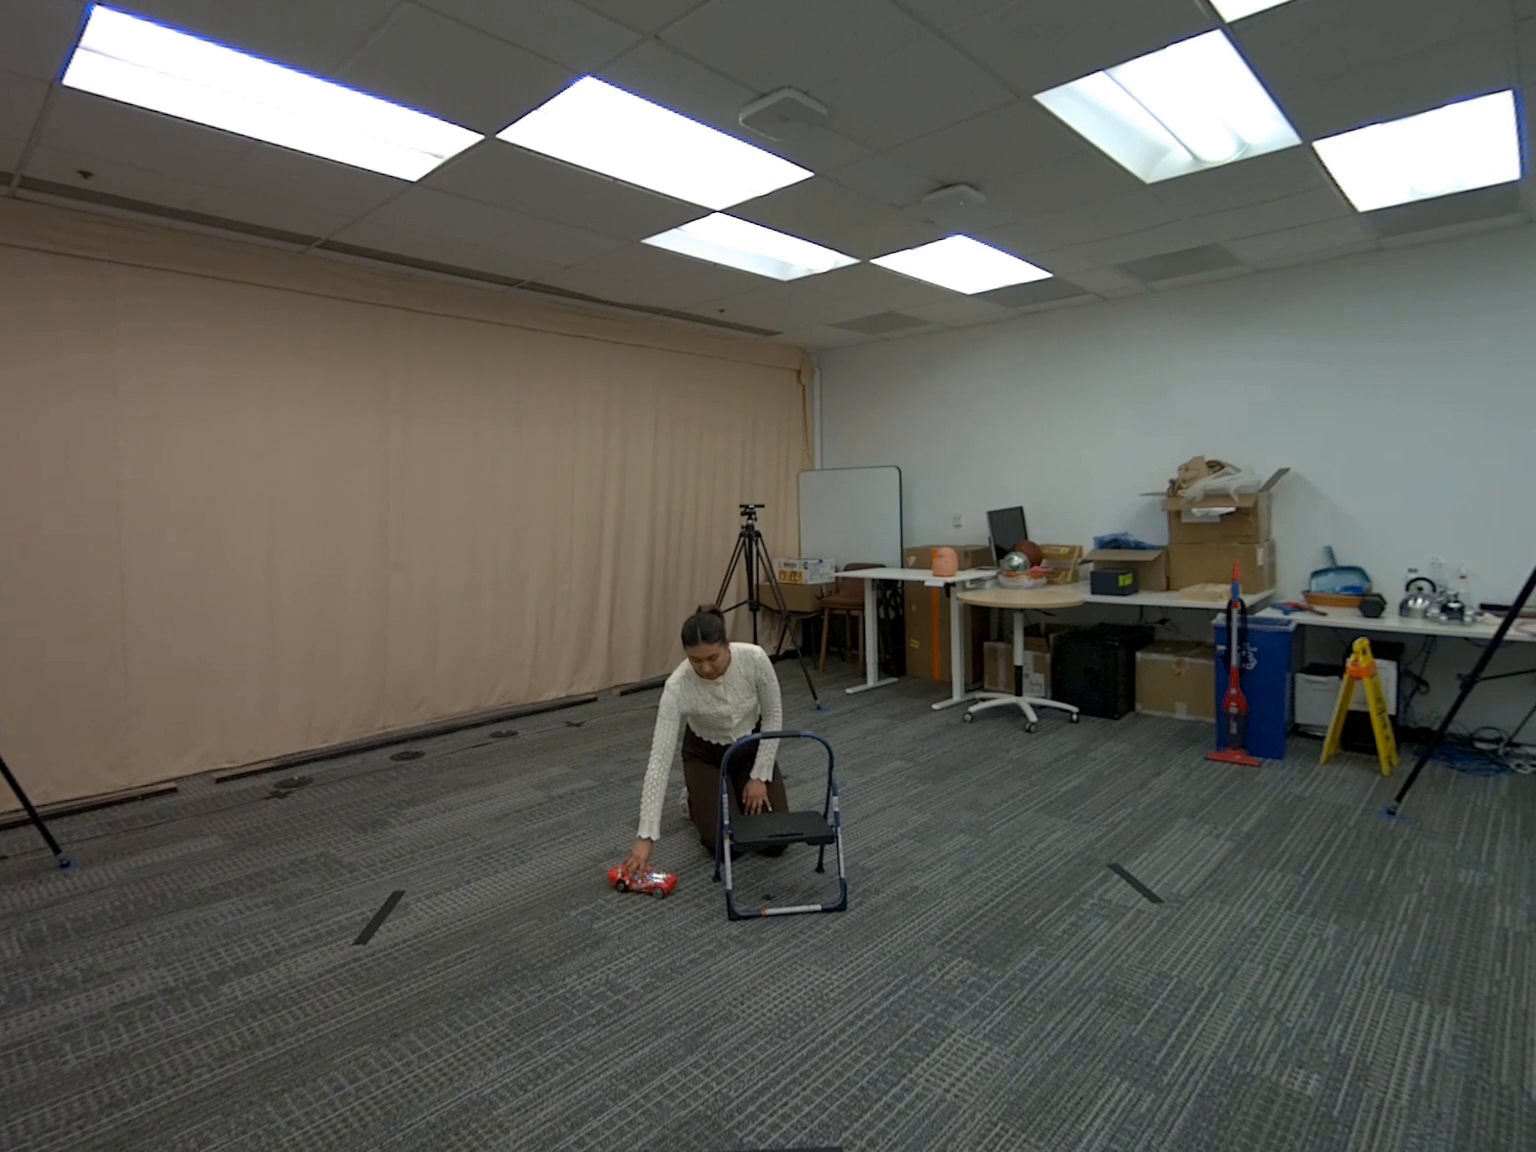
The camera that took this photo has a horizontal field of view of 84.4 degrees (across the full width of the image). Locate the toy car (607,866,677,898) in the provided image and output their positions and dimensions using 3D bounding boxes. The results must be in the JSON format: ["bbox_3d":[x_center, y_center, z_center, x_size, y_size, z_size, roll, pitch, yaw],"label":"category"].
[{"bbox_3d":[-0.462,1.113,3.073,0.260,0.083,0.128,11,8,19],"label":"toy car"}]
